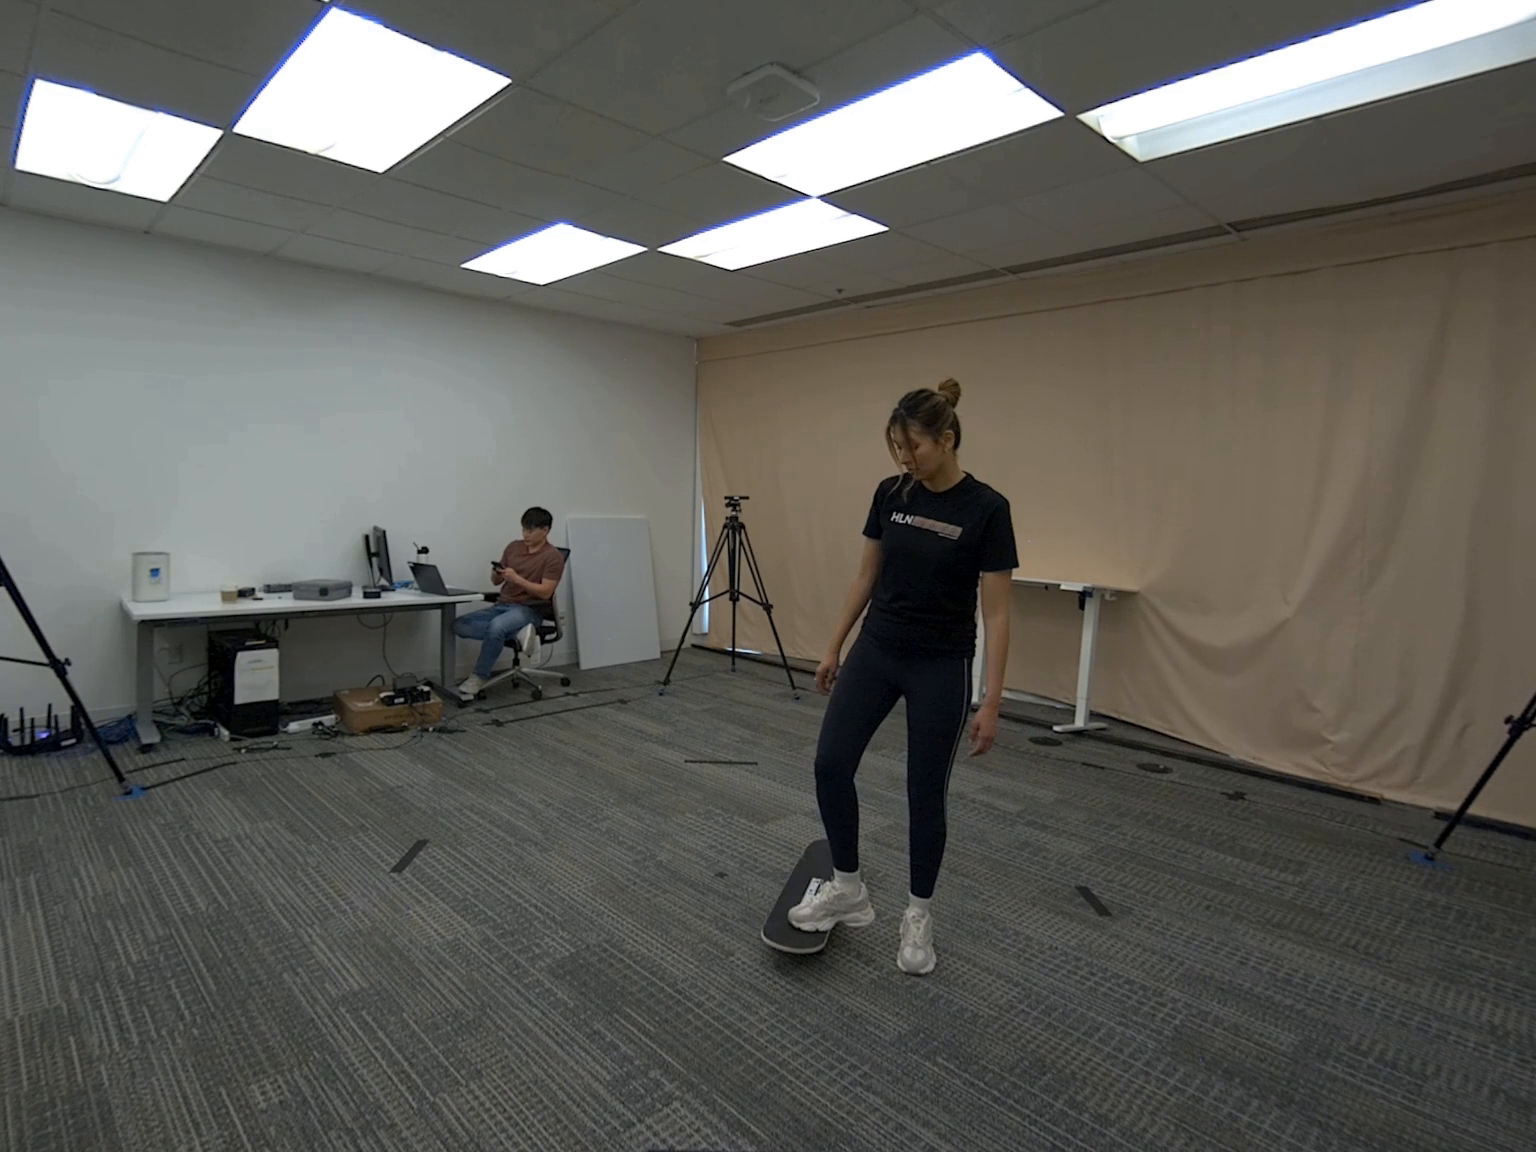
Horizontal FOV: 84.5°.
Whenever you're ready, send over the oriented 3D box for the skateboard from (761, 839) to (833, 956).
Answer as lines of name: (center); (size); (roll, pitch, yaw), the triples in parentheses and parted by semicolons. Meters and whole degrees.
skateboard: (0.137, 1.081, 2.798); (0.196, 0.110, 0.779); (5, 7, 13)
